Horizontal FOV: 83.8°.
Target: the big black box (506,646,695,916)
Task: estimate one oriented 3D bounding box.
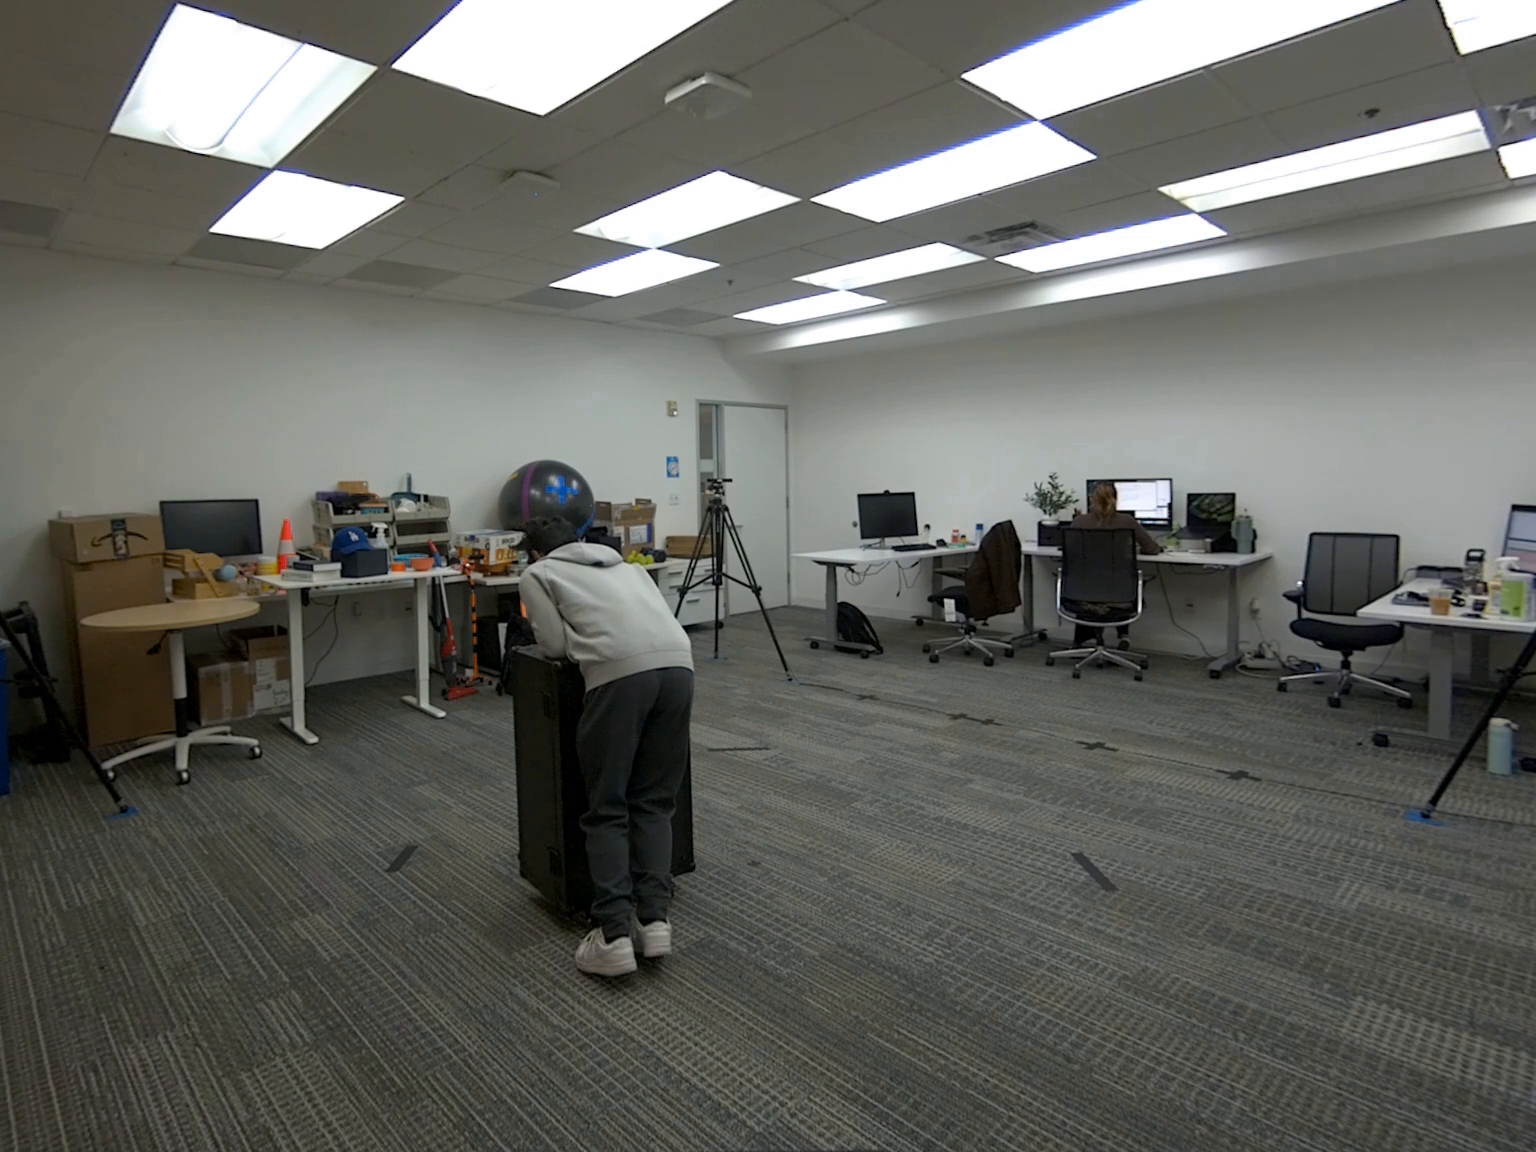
[{"bbox_3d":[-0.565,0.658,2.890,0.508,0.858,0.408,-5,5,-37],"label":"big black box"}]
